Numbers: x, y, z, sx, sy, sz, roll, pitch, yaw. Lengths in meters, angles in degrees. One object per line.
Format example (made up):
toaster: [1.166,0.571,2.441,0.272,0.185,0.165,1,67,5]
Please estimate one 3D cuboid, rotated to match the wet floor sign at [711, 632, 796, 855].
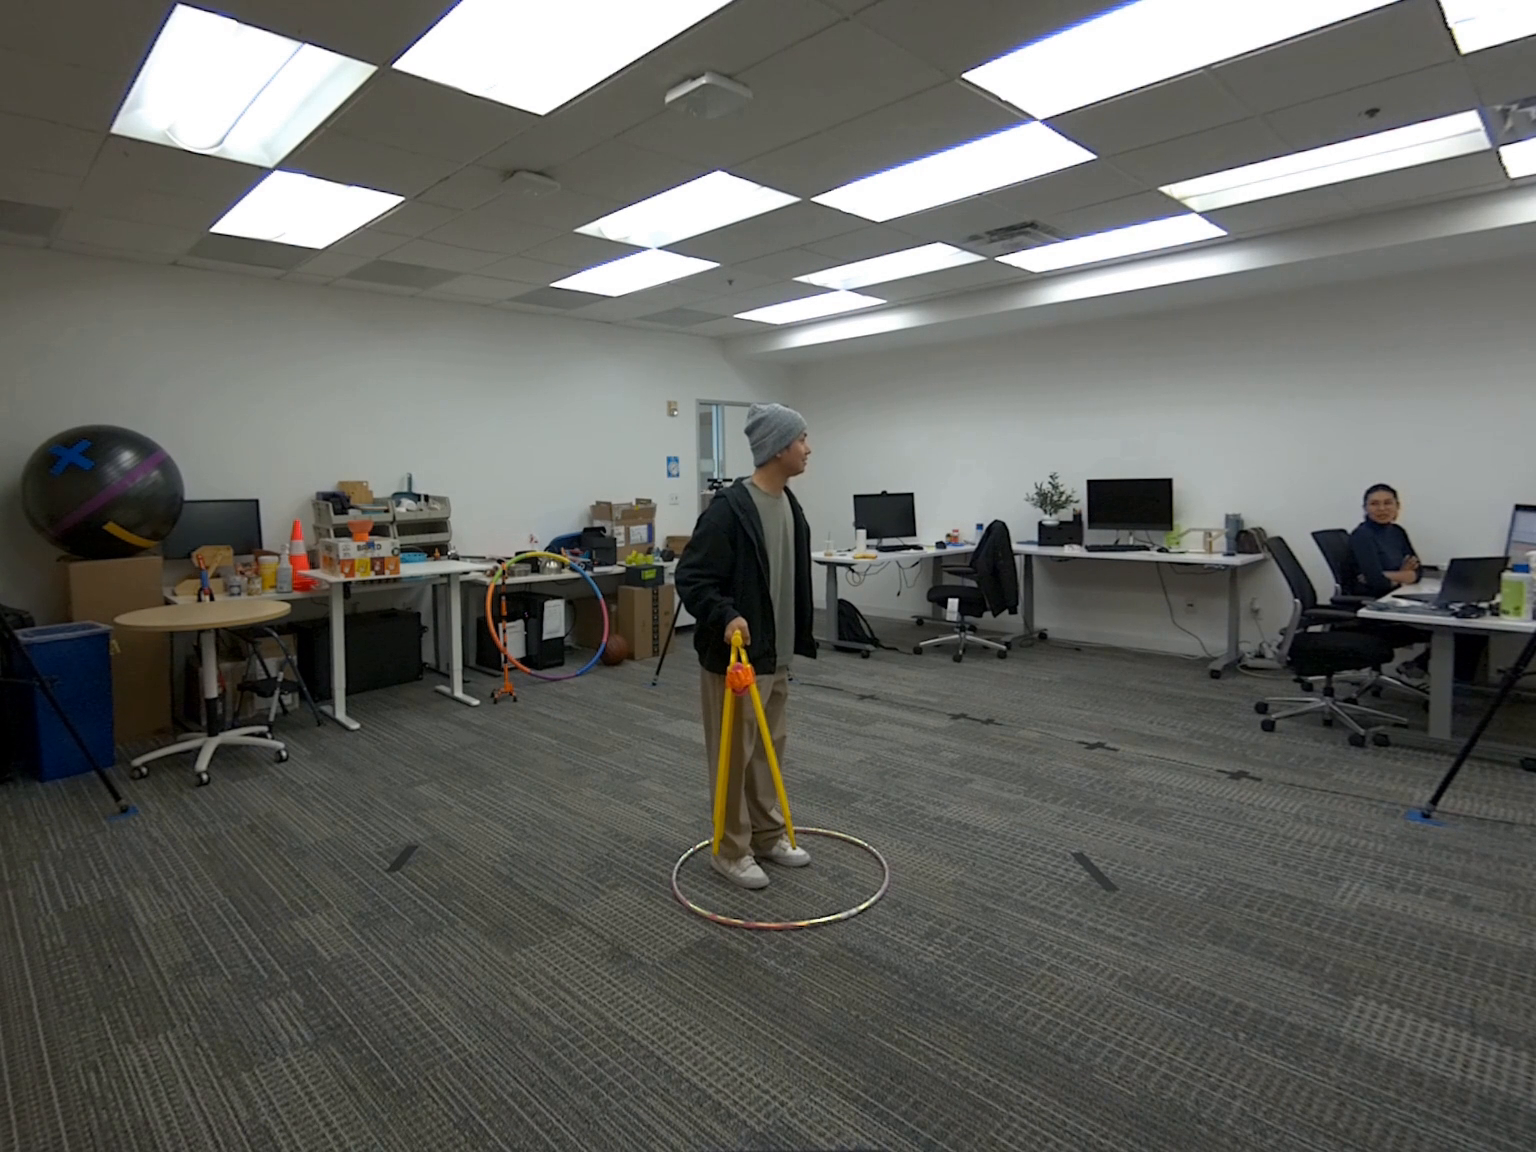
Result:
wet floor sign: [-0.069,0.493,2.677,0.290,0.649,0.281,-5,-4,0]
